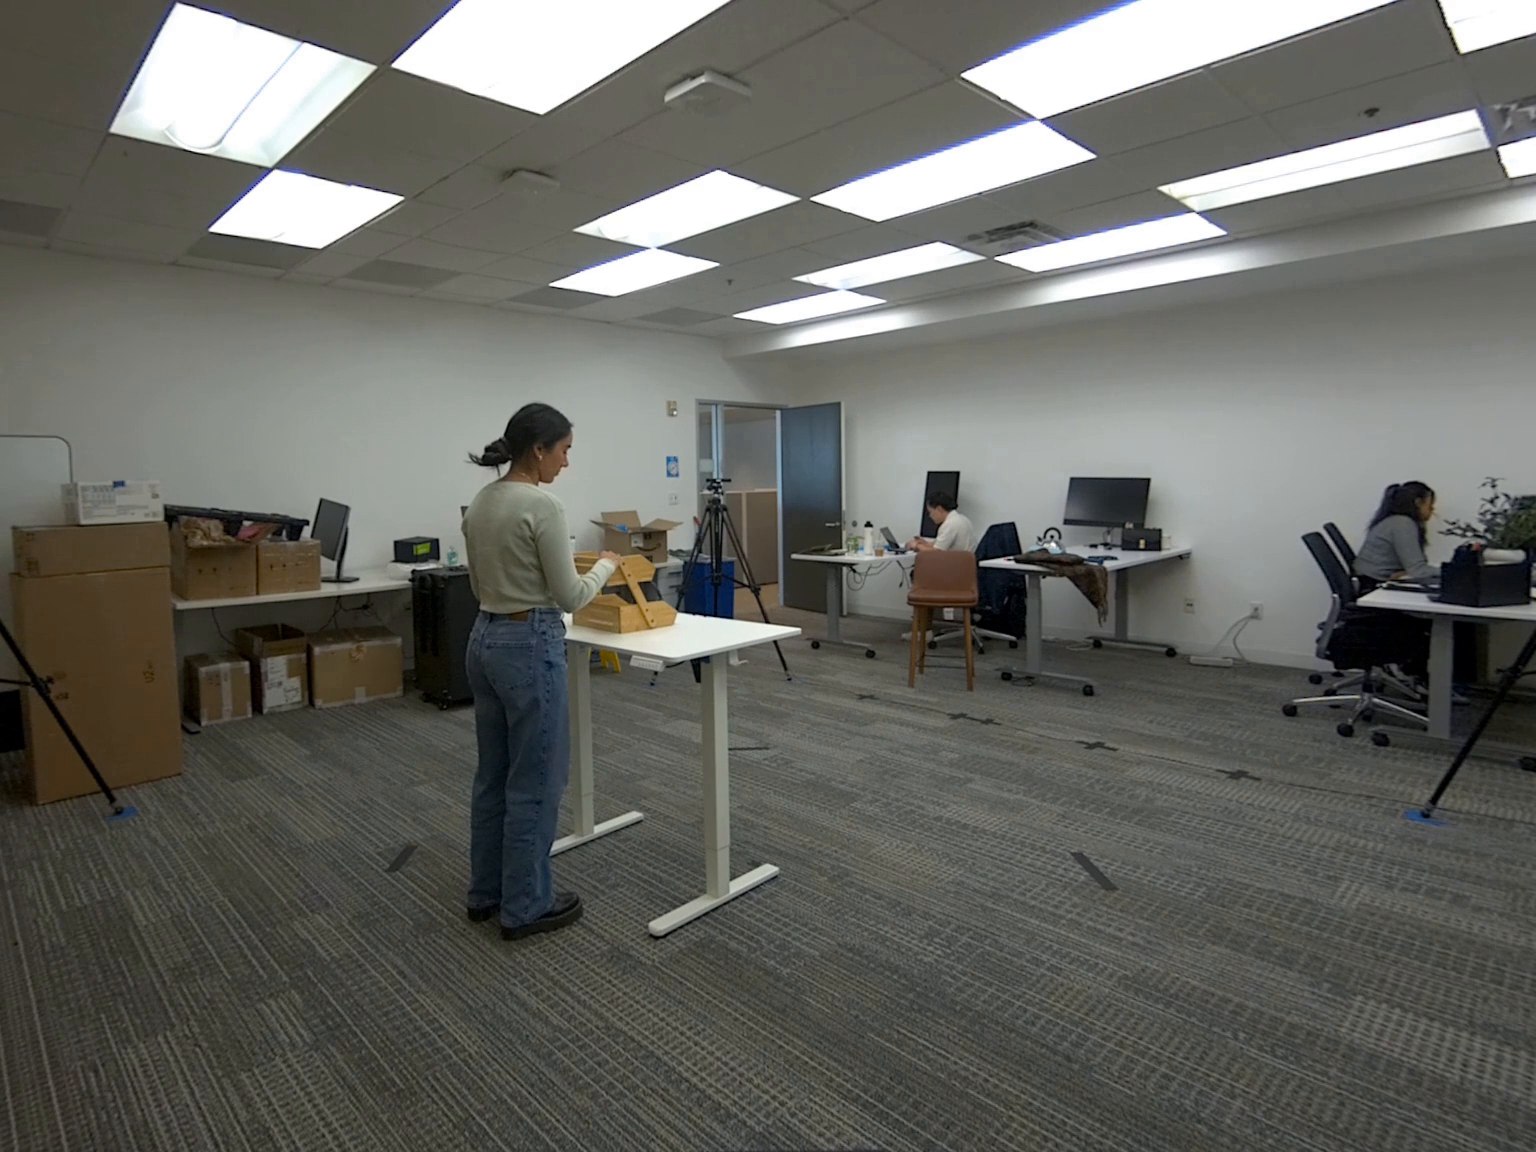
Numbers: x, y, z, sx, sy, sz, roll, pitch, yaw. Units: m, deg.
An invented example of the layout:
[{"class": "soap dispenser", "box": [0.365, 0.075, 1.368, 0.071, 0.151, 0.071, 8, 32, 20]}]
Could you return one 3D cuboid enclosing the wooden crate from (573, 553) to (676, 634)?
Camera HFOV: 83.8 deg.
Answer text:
[{"class": "wooden crate", "box": [-0.535, 0.046, 3.049, 0.294, 0.272, 0.334, -7, 7, -43]}]
